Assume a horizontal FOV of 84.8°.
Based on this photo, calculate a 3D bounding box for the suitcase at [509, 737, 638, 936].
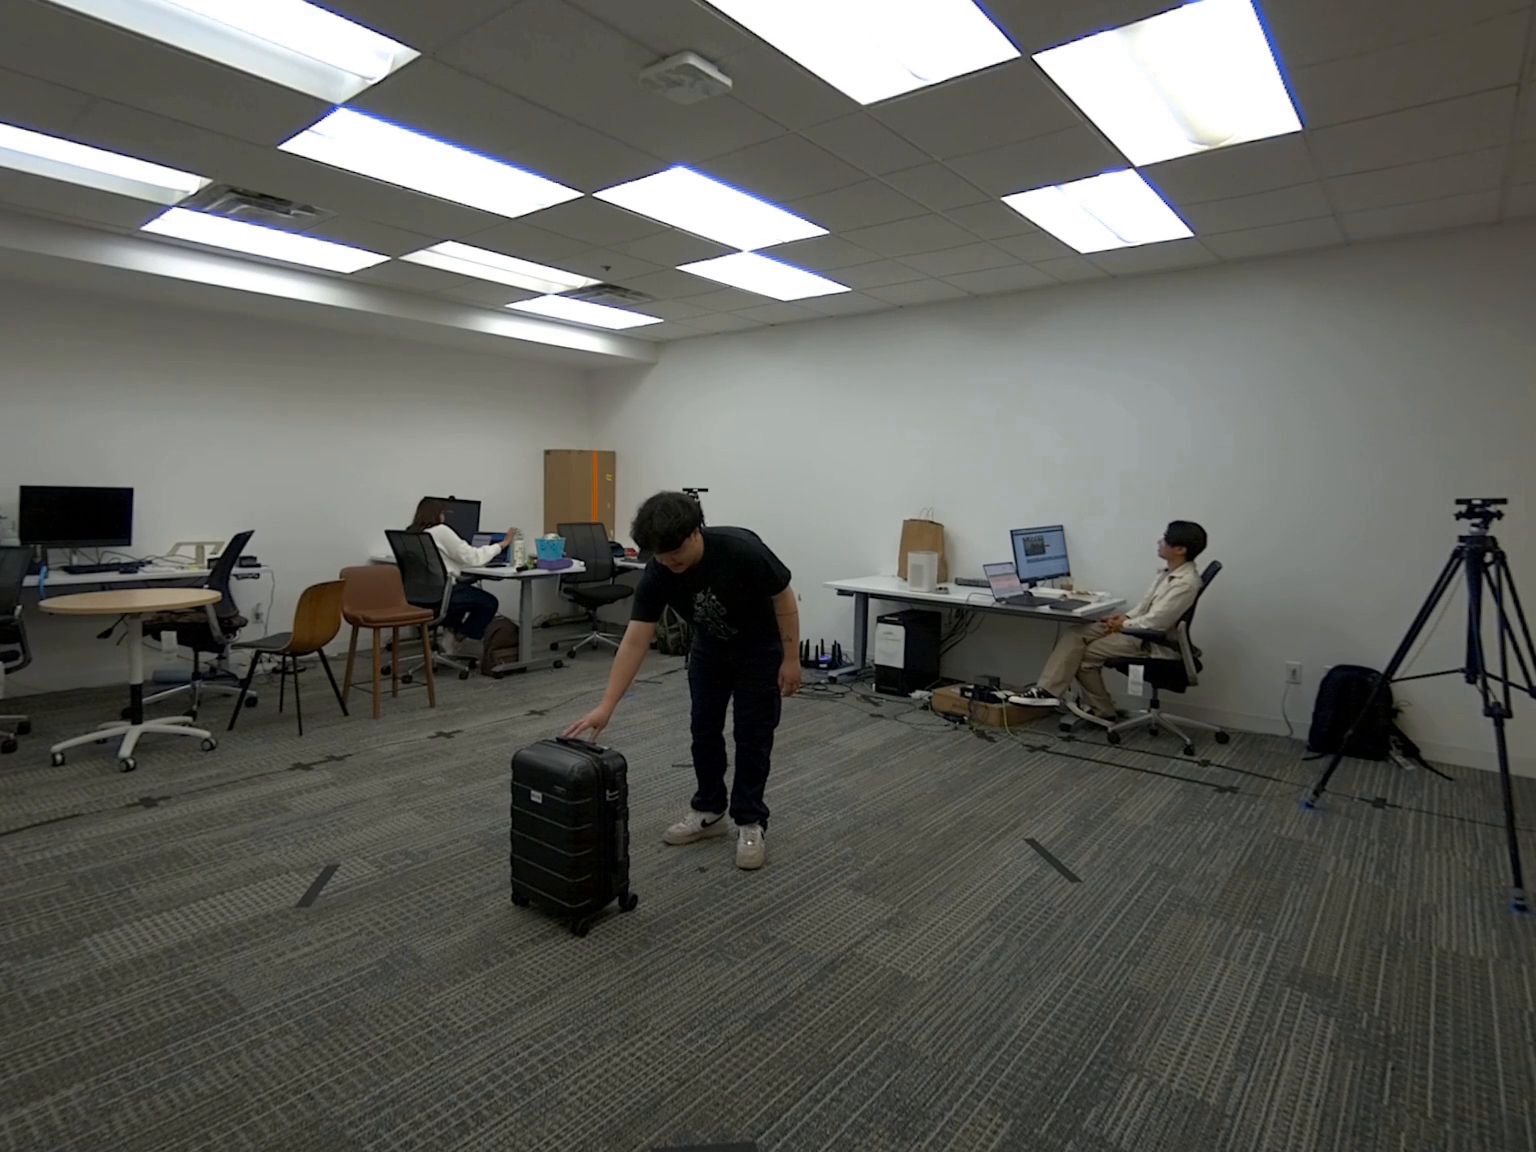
[{"bbox_3d":[-0.654,0.819,2.779,0.388,0.546,0.241,4,7,38],"label":"suitcase"}]
